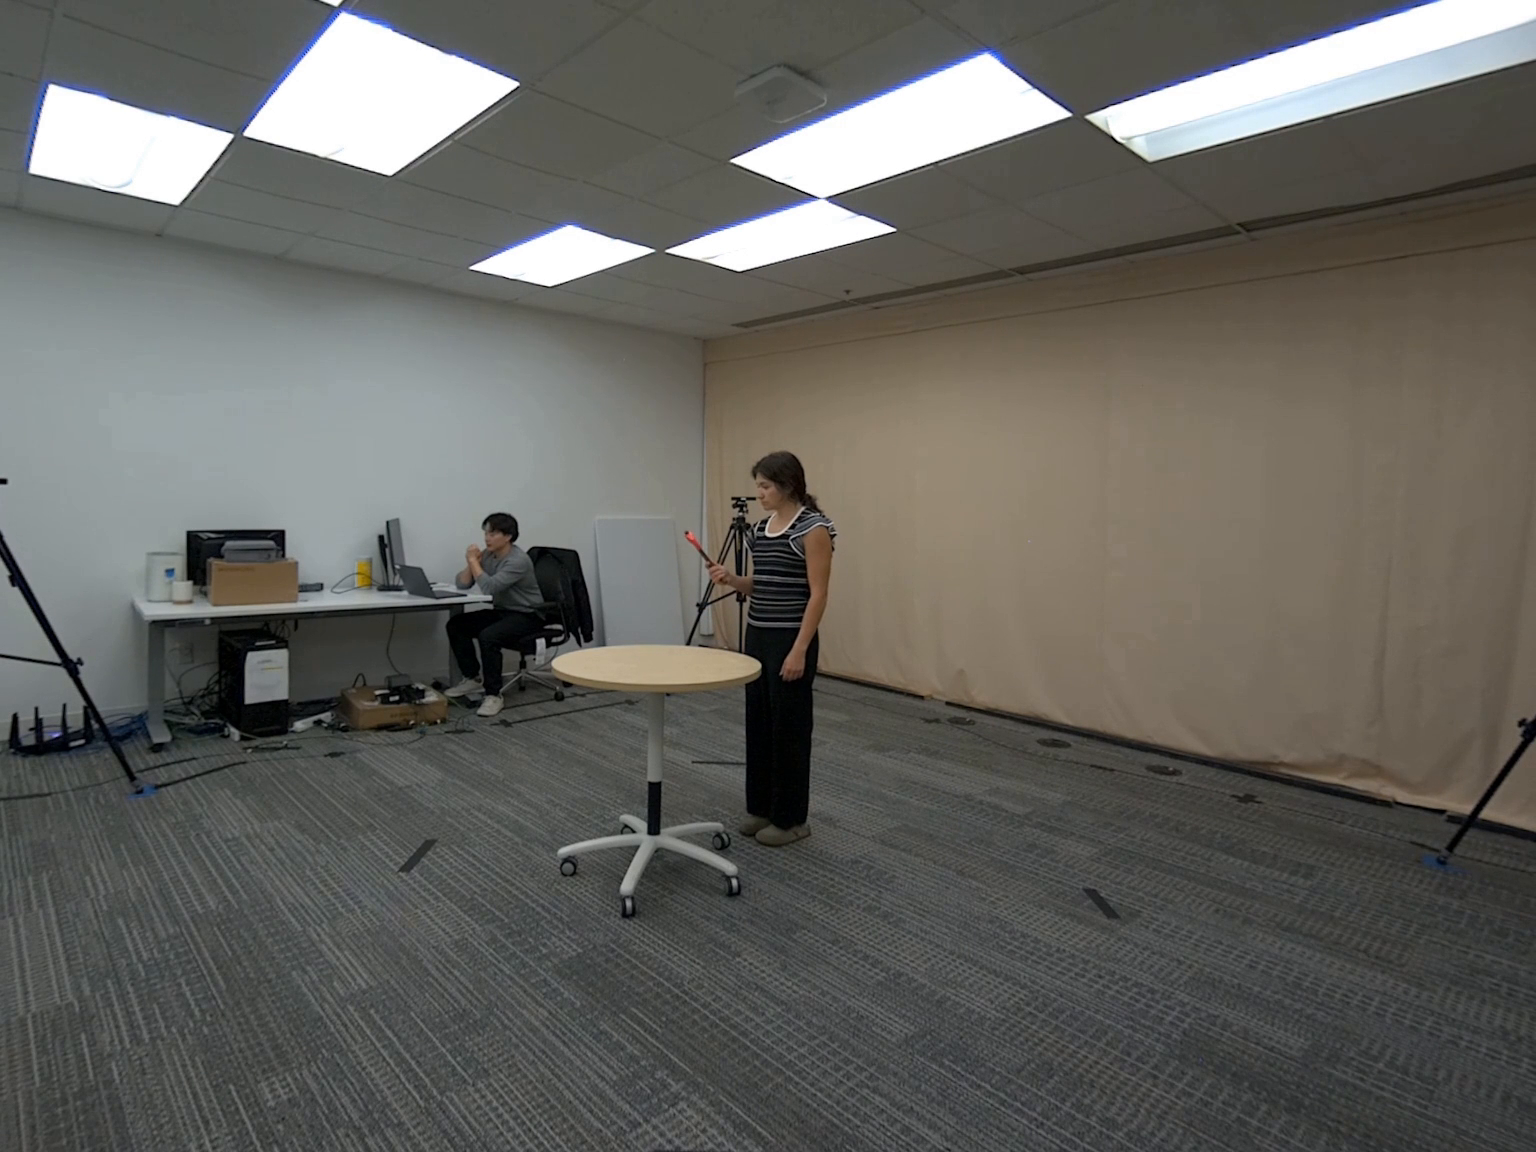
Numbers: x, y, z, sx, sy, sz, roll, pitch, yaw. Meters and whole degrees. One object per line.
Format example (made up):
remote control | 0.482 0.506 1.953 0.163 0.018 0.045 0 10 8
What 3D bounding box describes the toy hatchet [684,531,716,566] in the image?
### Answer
toy hatchet | -0.257 -0.080 3.403 0.029 0.270 0.131 -39 0 -8
